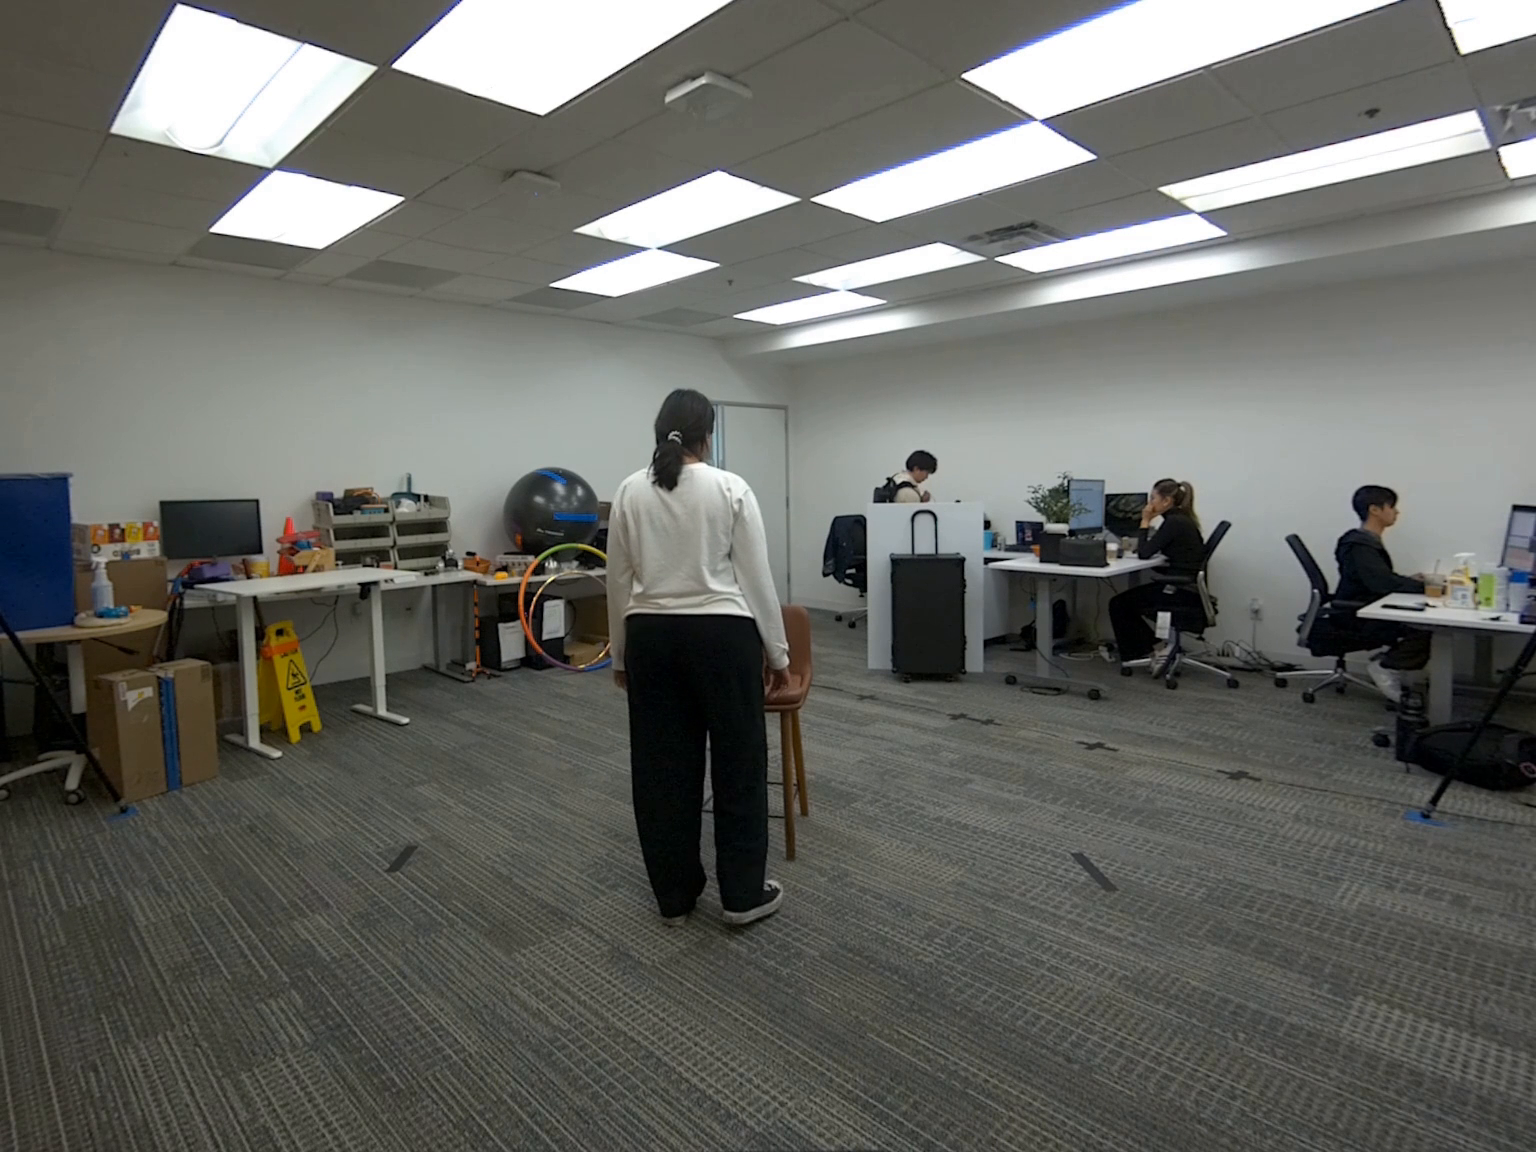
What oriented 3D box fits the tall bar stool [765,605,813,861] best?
[{"bbox_3d":[-0.058,0.583,3.370,0.463,0.888,0.462,0,2,14],"label":"tall bar stool"}]
